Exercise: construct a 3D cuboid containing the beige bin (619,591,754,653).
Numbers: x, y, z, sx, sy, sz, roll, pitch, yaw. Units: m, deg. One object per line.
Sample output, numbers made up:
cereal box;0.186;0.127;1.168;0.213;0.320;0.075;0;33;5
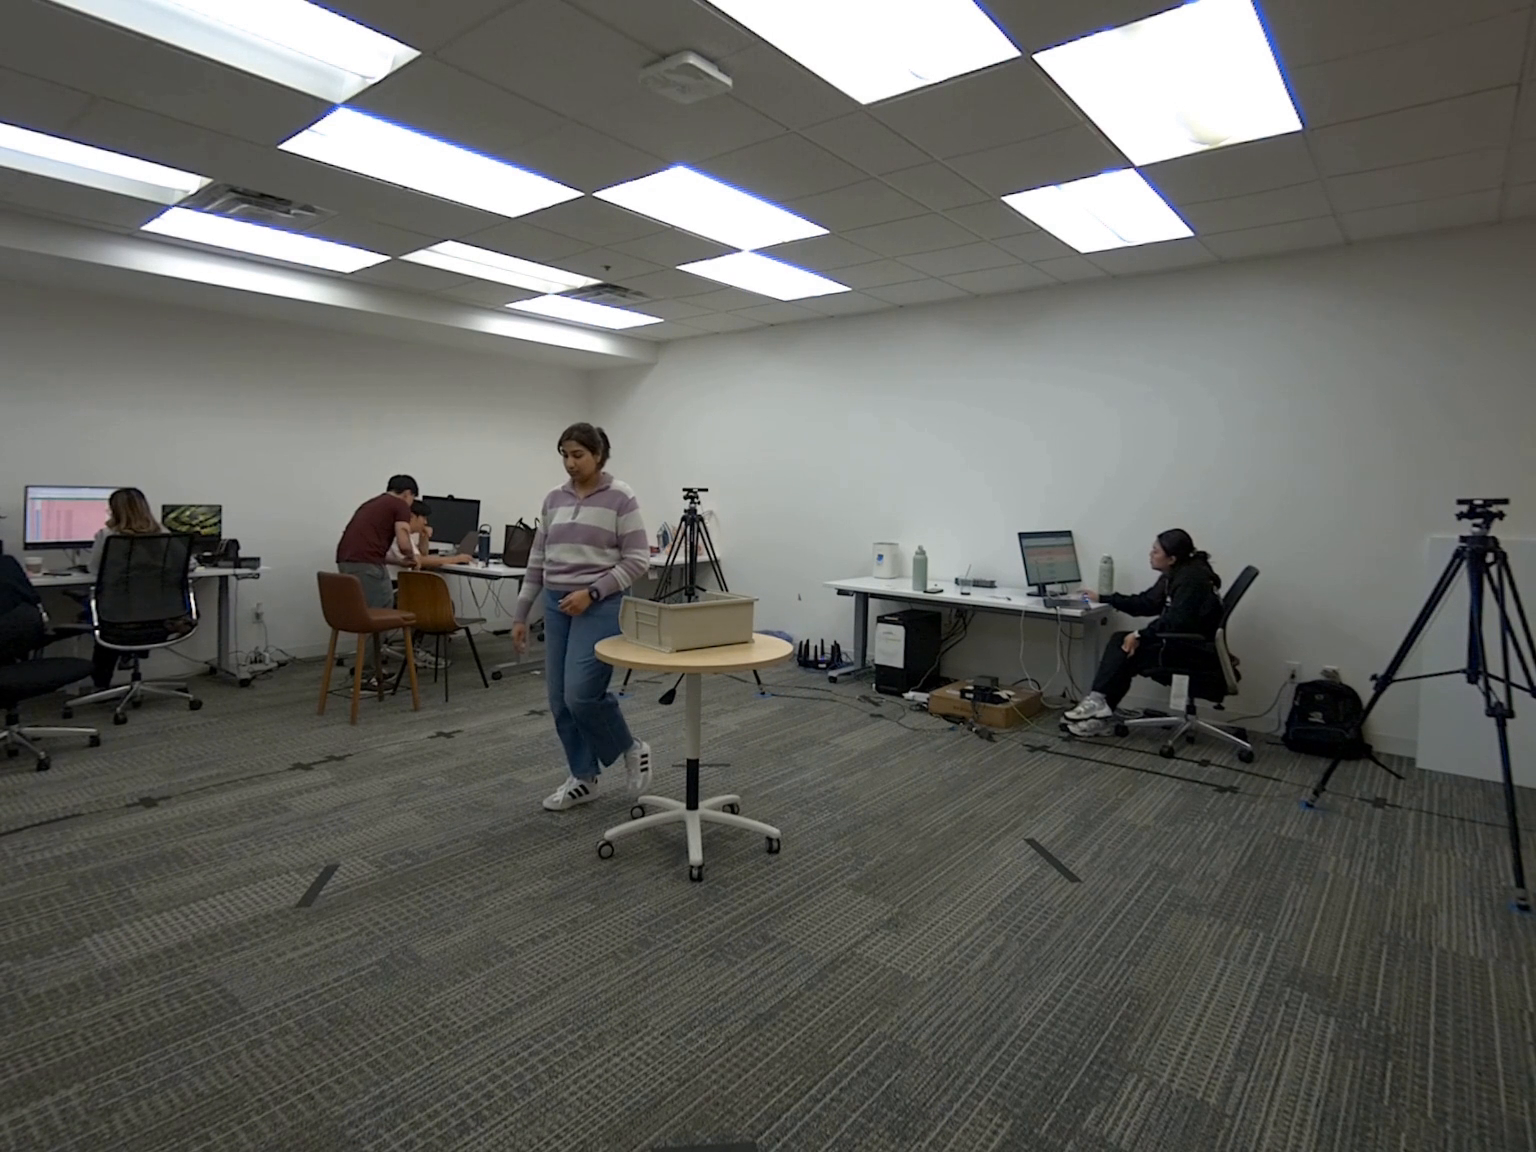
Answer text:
beige bin;-0.332;0.170;3.385;0.410;0.188;0.390;-3;8;-38
